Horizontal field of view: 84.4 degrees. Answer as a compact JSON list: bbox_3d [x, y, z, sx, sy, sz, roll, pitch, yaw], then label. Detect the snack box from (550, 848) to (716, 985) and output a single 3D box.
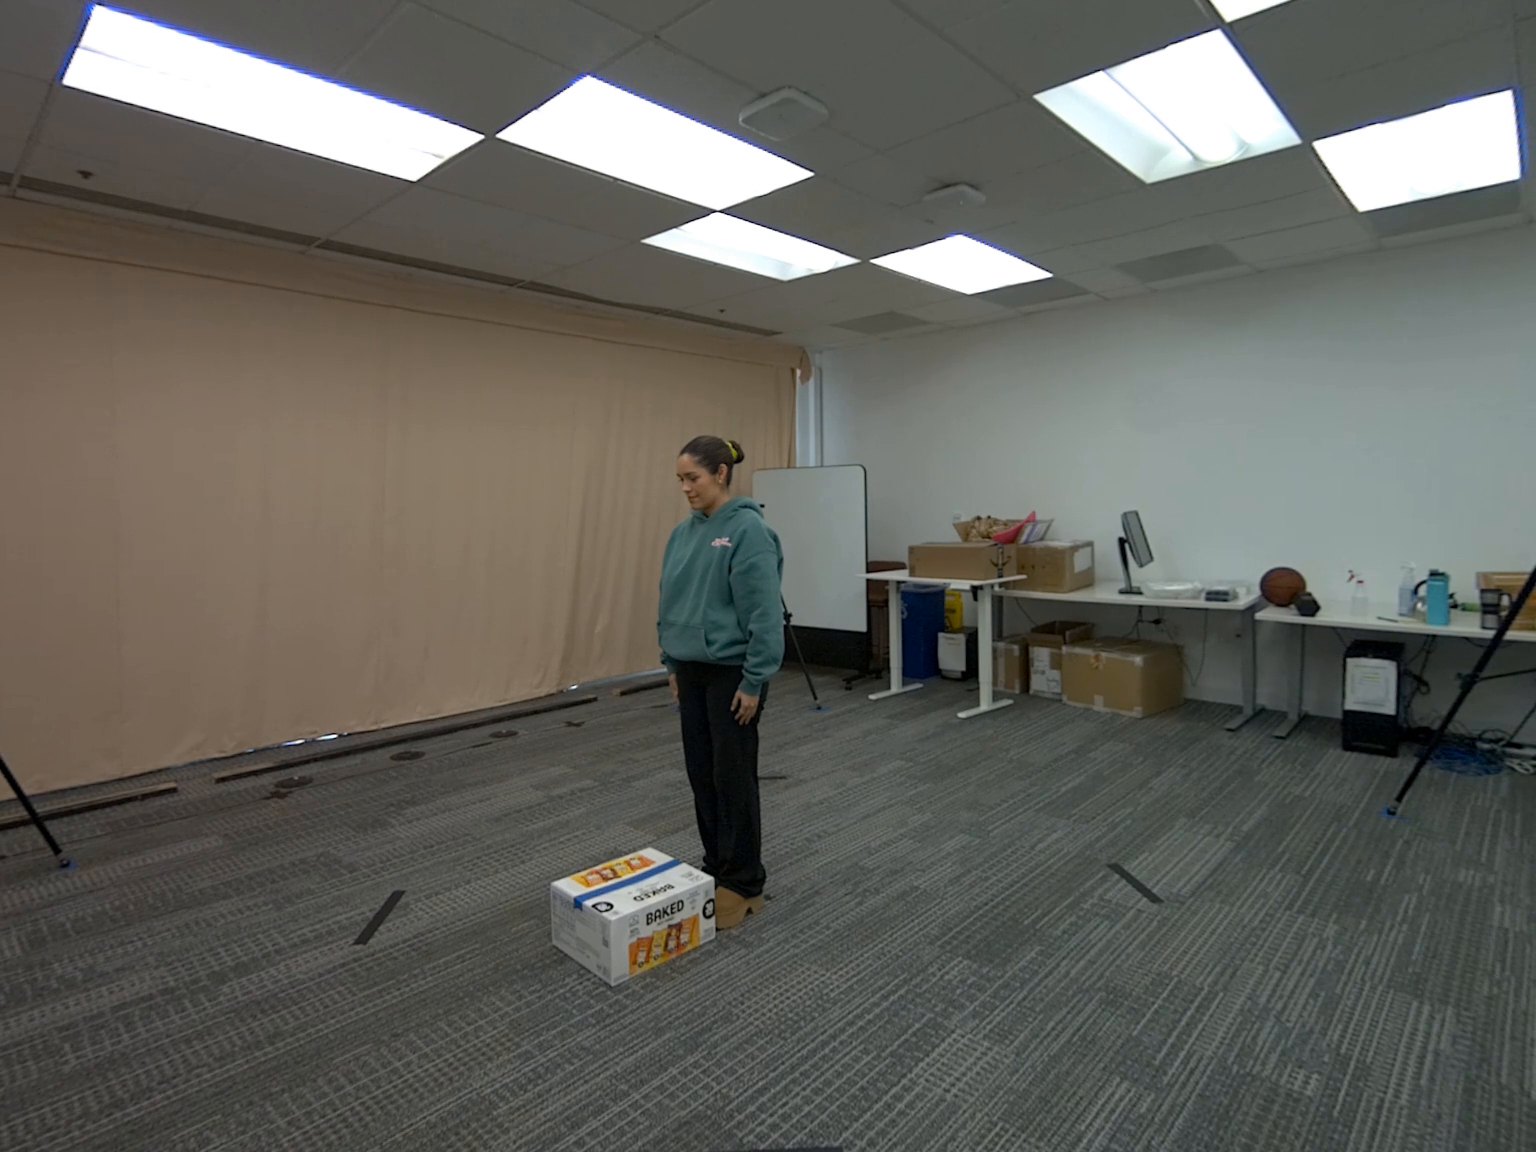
[{"bbox_3d":[-0.432,1.075,2.685,0.393,0.205,0.351,-5,6,-43],"label":"snack box"}]
